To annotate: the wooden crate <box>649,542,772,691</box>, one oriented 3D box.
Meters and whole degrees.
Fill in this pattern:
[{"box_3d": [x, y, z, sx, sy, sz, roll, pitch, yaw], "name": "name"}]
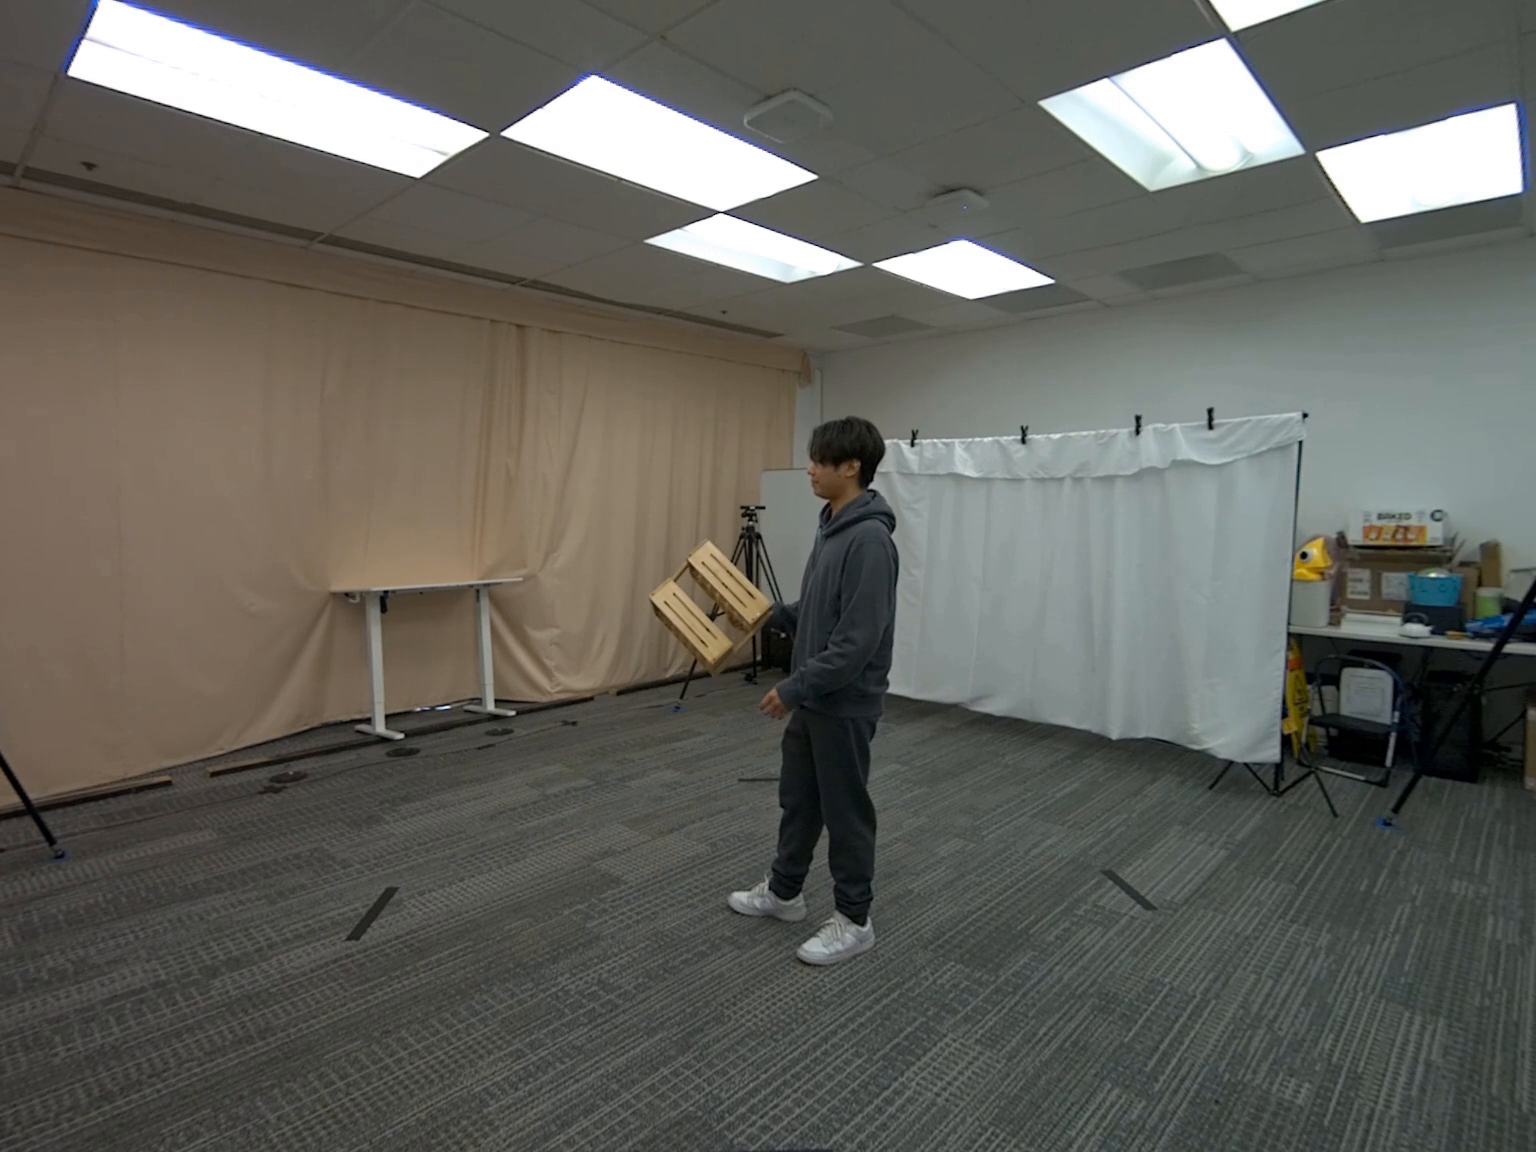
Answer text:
[{"box_3d": [-0.181, 0.112, 2.770, 0.272, 0.330, 0.298, -42, -13, -12], "name": "wooden crate"}]
